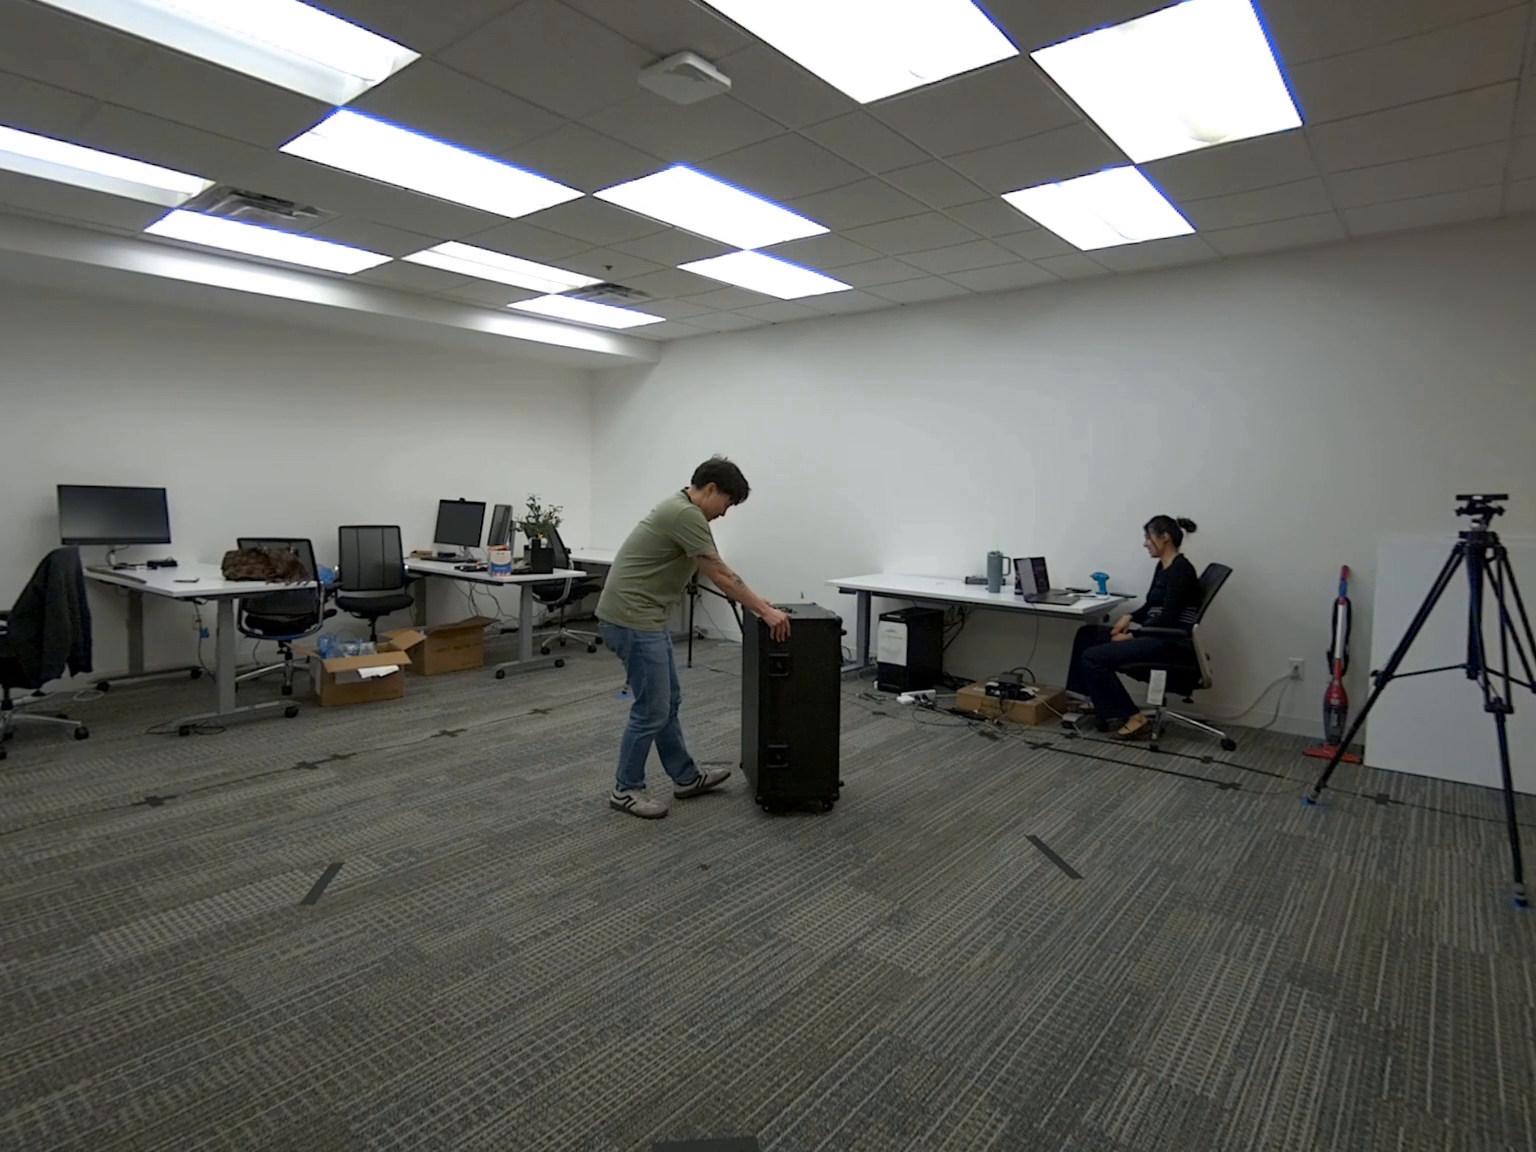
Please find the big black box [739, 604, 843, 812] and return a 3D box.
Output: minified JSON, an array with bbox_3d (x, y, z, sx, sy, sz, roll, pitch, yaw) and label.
[{"bbox_3d":[0.095,0.578,3.810,0.393,0.859,0.527,1,4,-9],"label":"big black box"}]
